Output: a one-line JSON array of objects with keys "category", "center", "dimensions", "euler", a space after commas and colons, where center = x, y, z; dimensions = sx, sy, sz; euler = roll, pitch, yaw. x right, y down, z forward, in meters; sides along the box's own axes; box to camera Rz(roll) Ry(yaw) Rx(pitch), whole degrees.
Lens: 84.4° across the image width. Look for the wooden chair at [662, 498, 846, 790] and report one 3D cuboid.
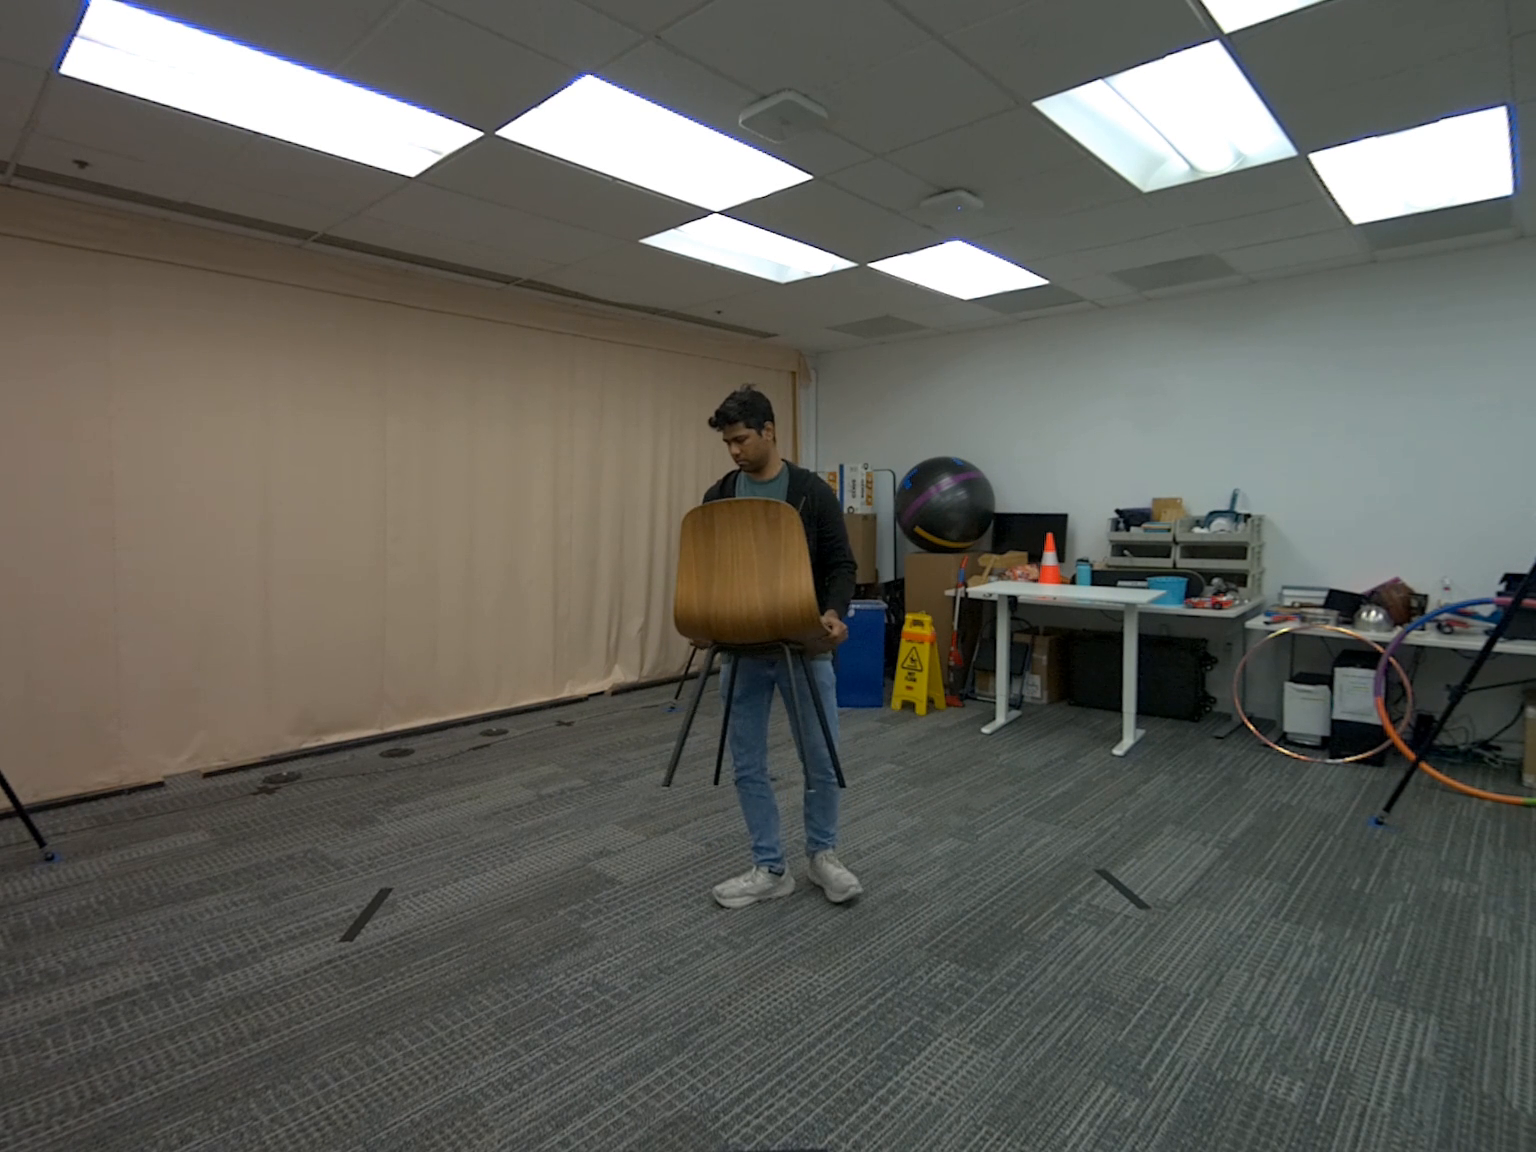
[{"category": "wooden chair", "center": [-0.024, 0.241, 2.694], "dimensions": [0.487, 0.884, 0.510], "euler": [-5, -12, 18]}]
